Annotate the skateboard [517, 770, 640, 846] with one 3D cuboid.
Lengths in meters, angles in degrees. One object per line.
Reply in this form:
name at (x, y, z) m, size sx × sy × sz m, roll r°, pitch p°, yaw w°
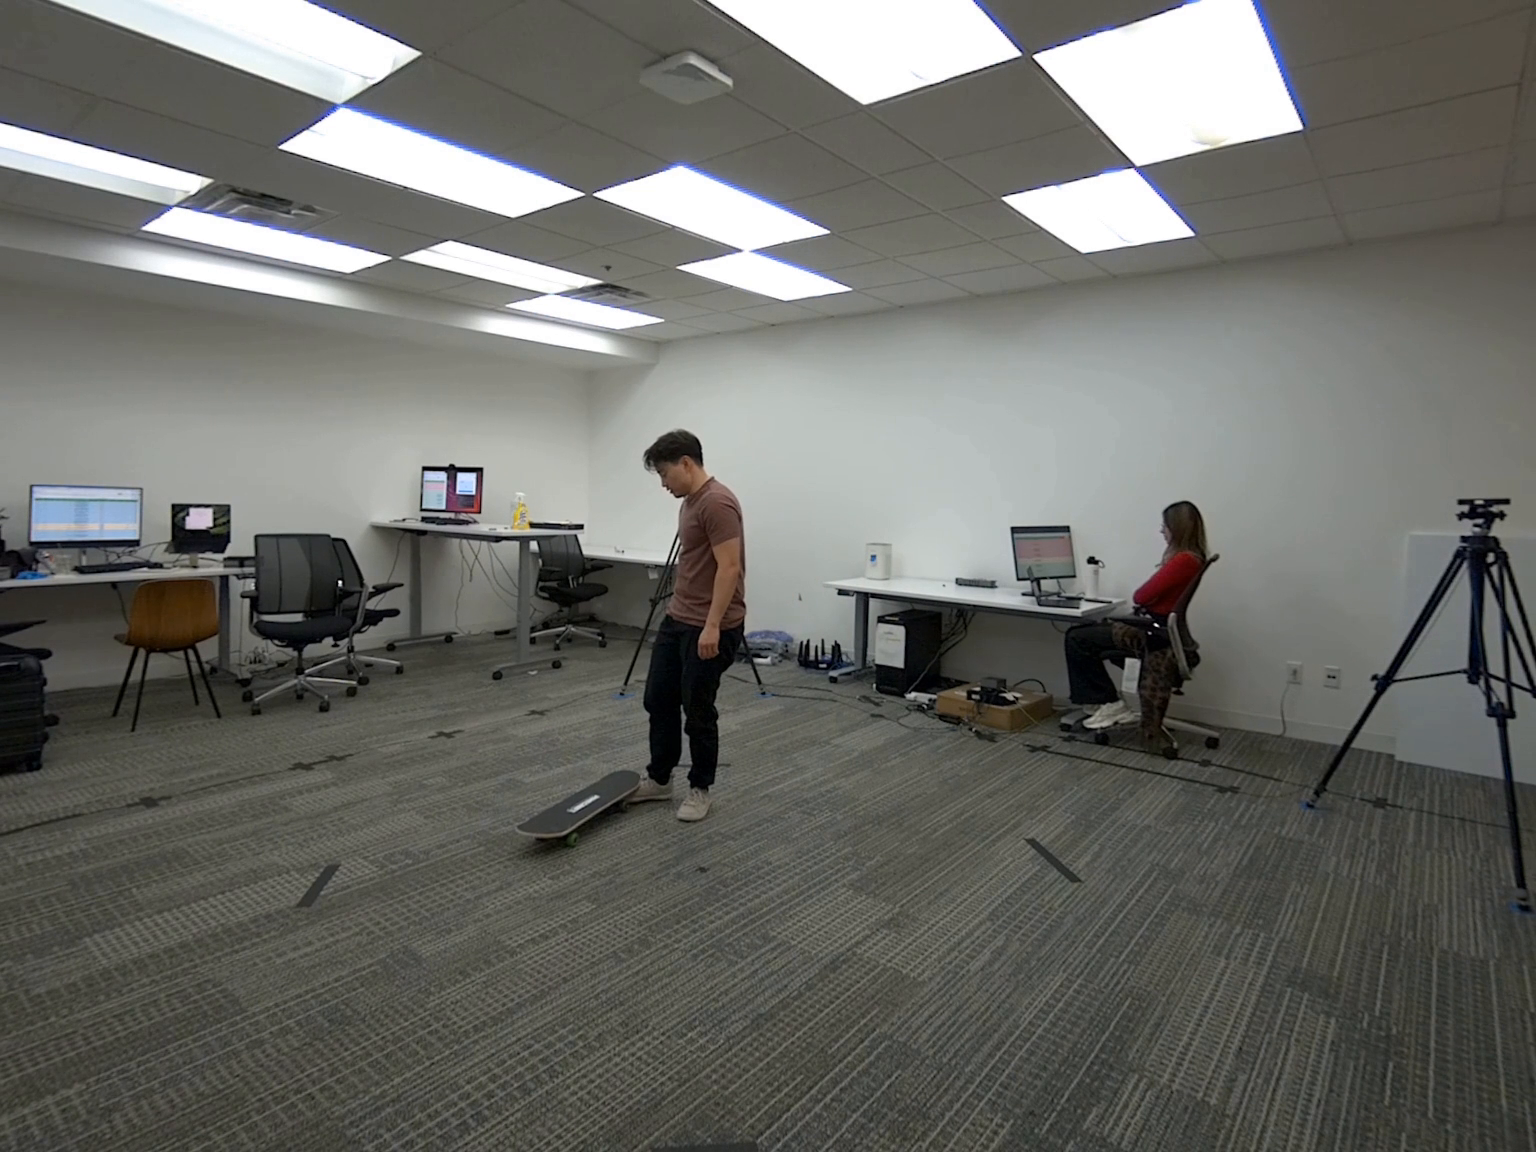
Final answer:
skateboard at (-0.775, 0.965, 3.498) m, size 0.198 × 0.110 × 0.770 m, roll 3°, pitch 6°, yaw 21°
